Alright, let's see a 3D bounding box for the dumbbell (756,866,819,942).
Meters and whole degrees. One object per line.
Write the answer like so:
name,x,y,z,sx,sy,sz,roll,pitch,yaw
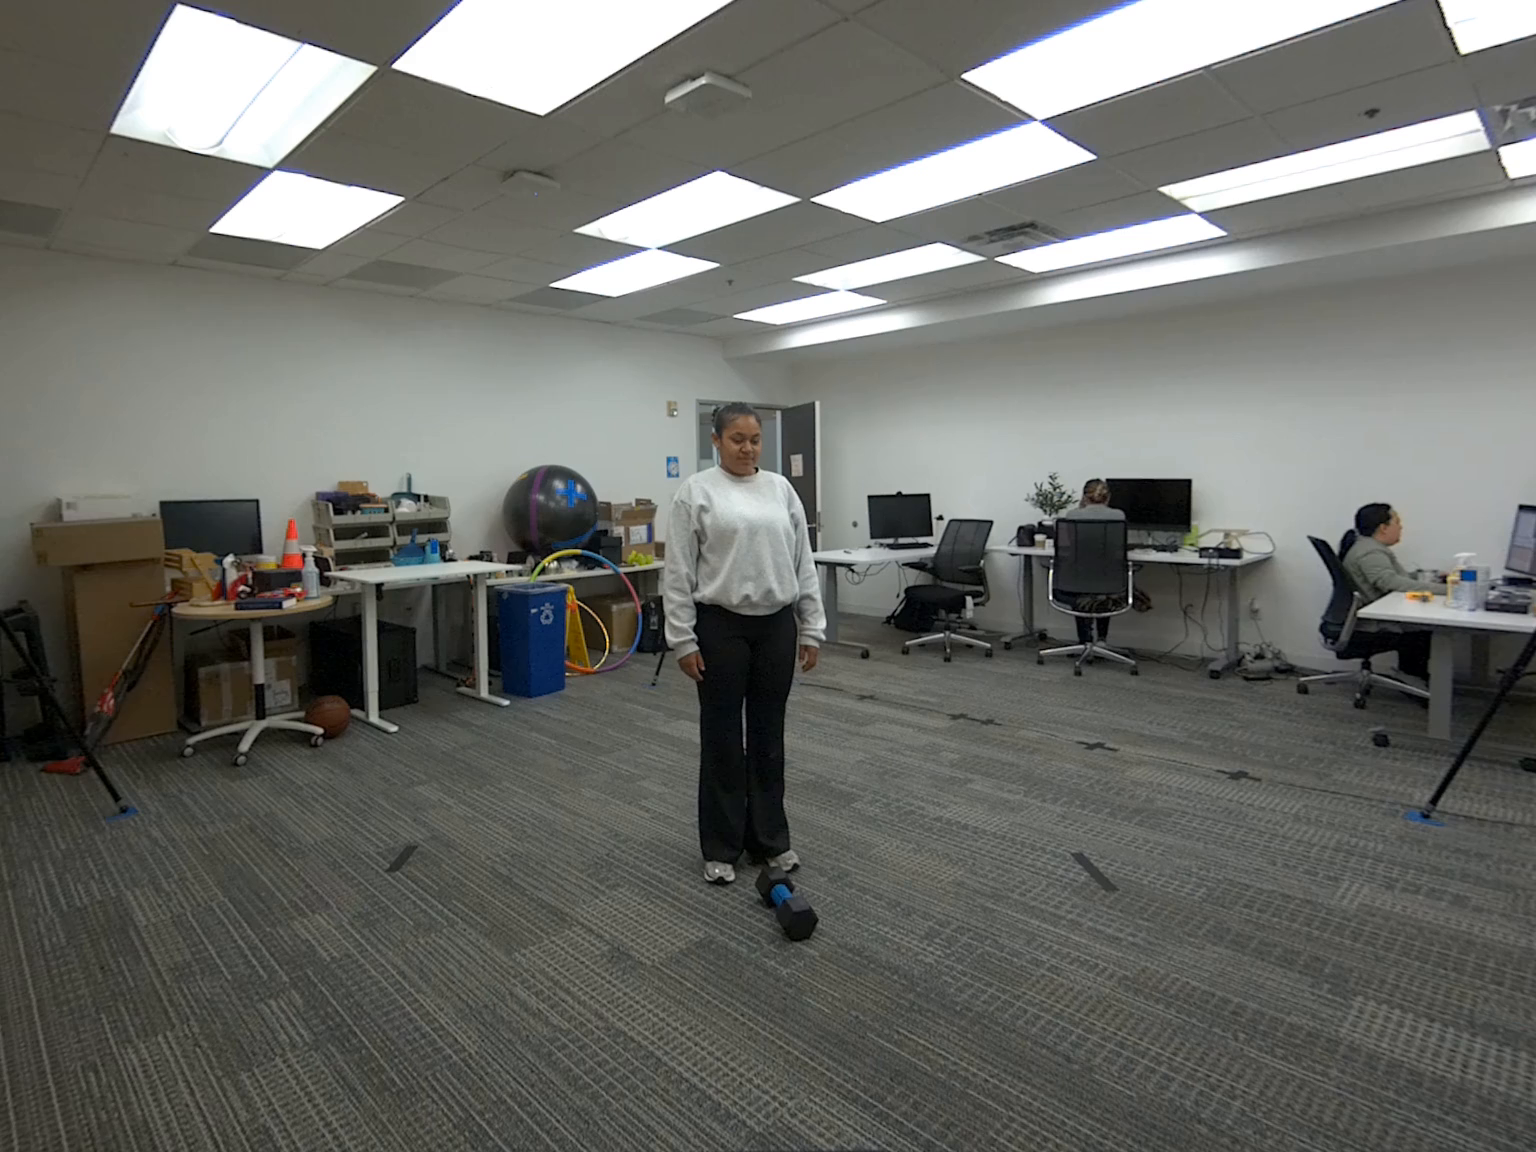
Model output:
dumbbell,0.057,1.042,2.712,0.108,0.121,0.299,-33,14,-11
